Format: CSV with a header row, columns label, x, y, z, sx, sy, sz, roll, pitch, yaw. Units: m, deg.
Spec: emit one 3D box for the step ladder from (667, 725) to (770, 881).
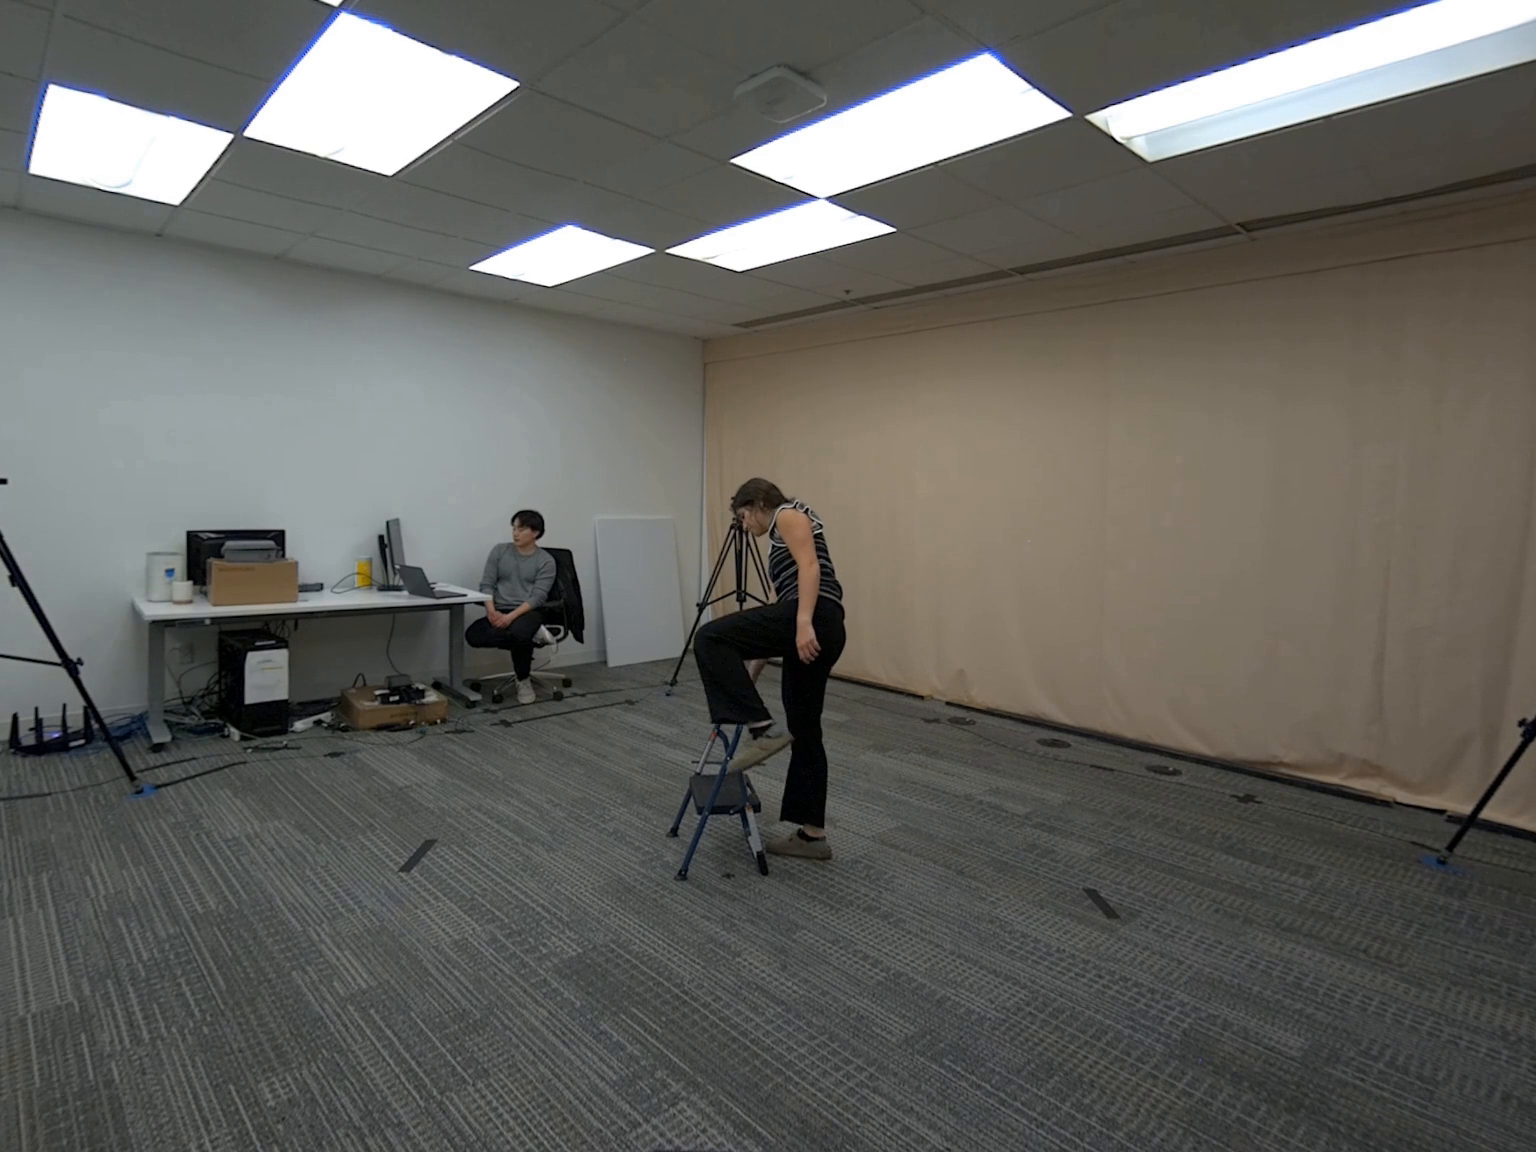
label,x,y,z,sx,sy,sz,roll,pitch,yaw
step ladder,-0.200,0.789,3.273,0.346,0.604,0.435,1,4,-10
